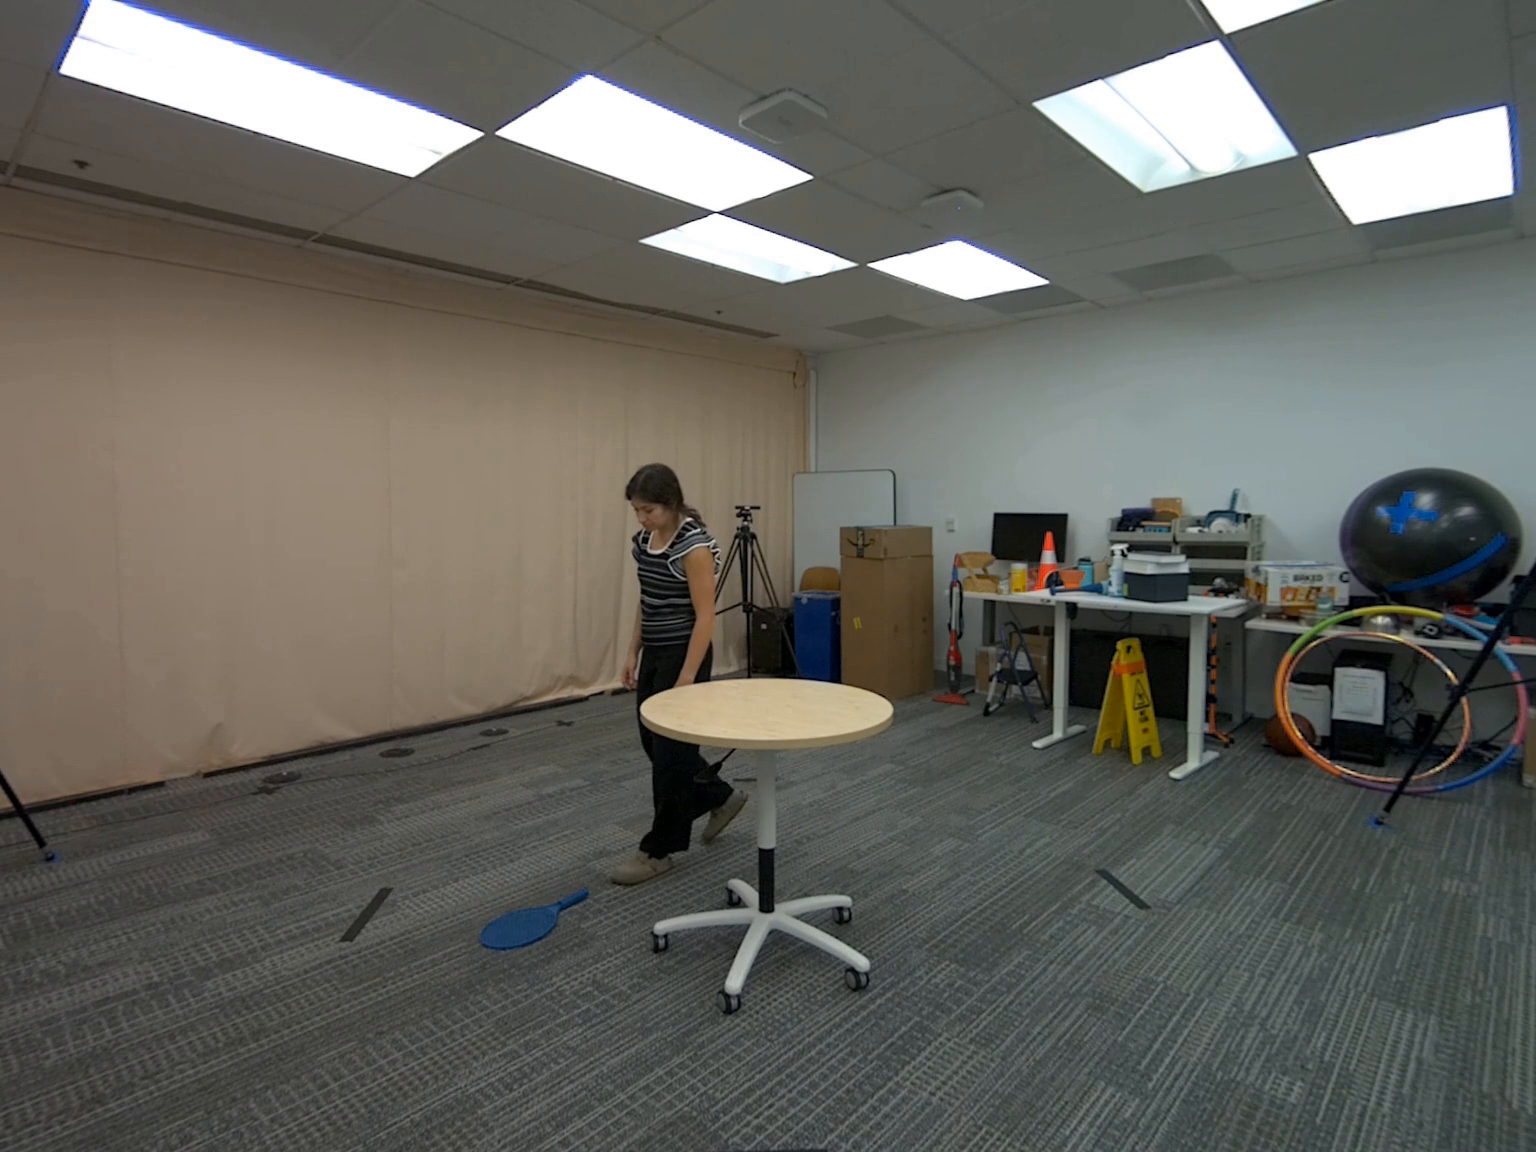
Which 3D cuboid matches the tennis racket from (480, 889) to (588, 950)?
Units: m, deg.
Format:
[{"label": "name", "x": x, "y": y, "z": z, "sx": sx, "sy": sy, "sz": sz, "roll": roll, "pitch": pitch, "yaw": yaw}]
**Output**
[{"label": "tennis racket", "x": -0.777, "y": 1.152, "z": 2.836, "sx": 0.220, "sy": 0.031, "sz": 0.421, "roll": 2, "pitch": 7, "yaw": 35}]
